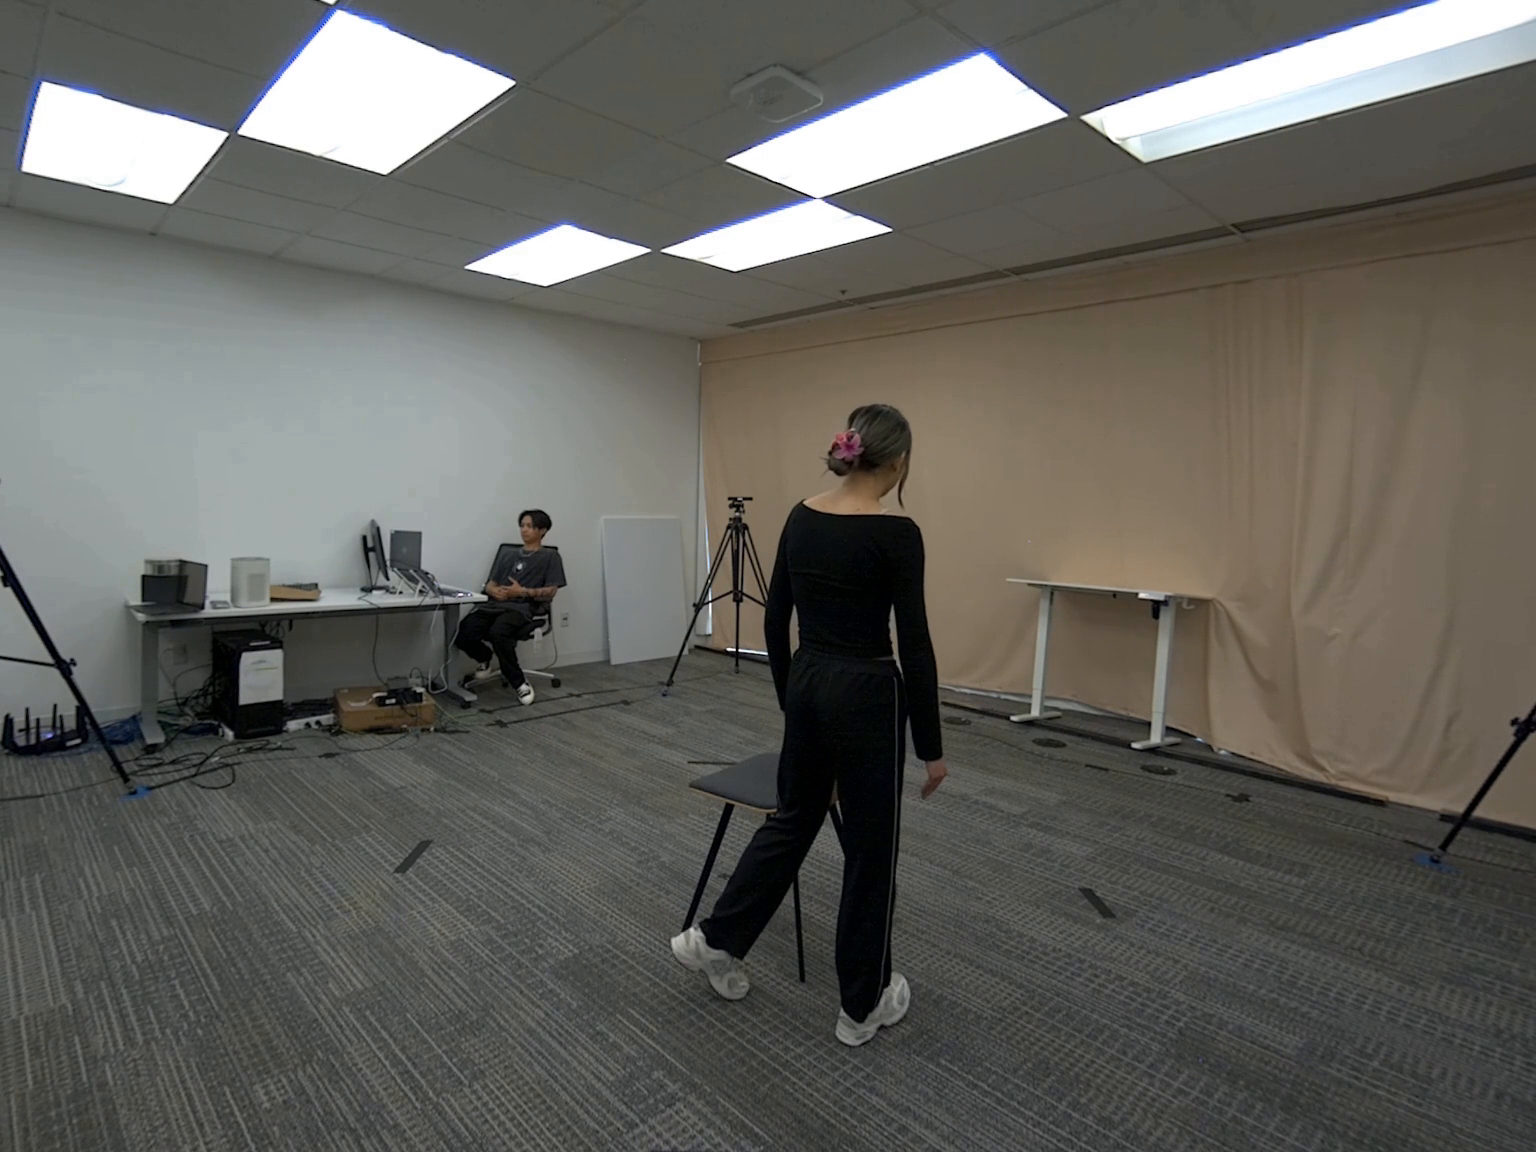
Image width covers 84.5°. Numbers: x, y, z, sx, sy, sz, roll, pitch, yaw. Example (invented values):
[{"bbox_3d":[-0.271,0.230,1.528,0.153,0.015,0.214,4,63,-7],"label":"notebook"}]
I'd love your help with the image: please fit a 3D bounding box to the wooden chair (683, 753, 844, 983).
[{"bbox_3d":[0.040,0.723,2.715,0.536,0.874,0.468,10,8,35],"label":"wooden chair"}]
